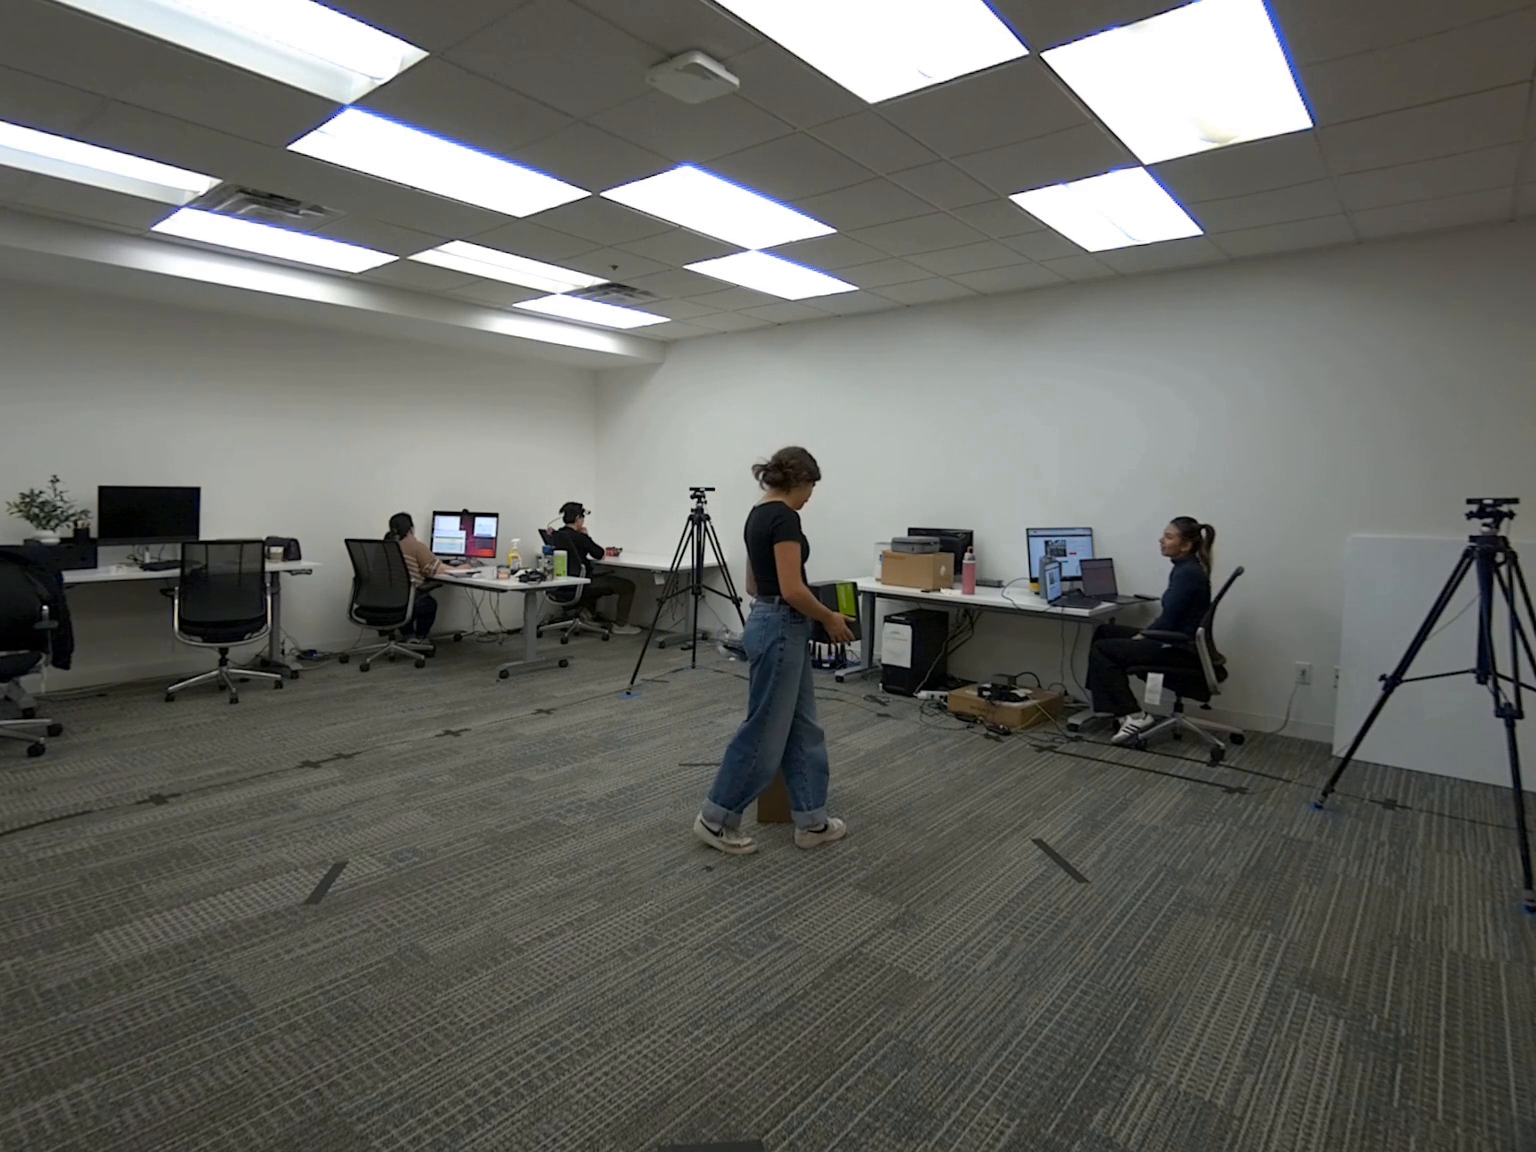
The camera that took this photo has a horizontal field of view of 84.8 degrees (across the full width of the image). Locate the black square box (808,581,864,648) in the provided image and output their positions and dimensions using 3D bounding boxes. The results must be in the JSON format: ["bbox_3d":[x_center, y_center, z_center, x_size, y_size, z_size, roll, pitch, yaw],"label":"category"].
[{"bbox_3d":[0.251,0.144,3.329,0.154,0.228,0.220,-5,2,-15],"label":"black square box"}]
